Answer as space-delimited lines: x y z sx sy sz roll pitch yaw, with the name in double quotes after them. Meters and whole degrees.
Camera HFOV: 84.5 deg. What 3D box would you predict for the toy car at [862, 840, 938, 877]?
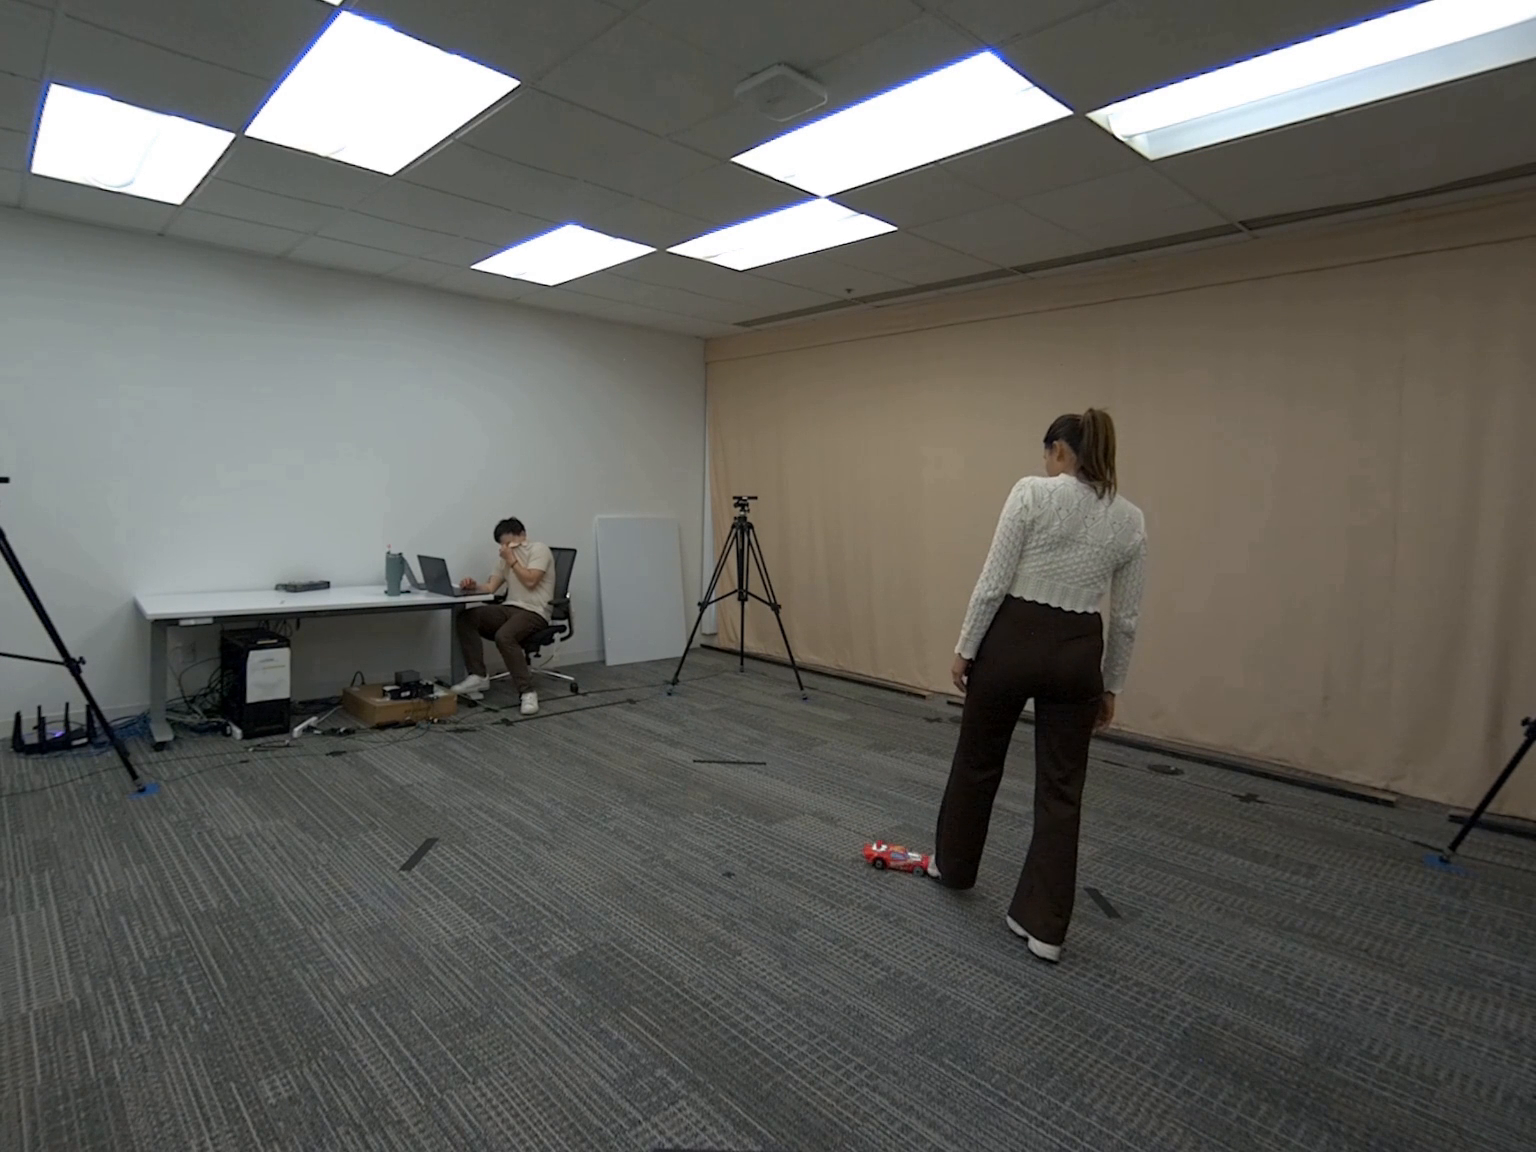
0.472 1.079 3.209 0.259 0.083 0.128 14 7 19 "toy car"
